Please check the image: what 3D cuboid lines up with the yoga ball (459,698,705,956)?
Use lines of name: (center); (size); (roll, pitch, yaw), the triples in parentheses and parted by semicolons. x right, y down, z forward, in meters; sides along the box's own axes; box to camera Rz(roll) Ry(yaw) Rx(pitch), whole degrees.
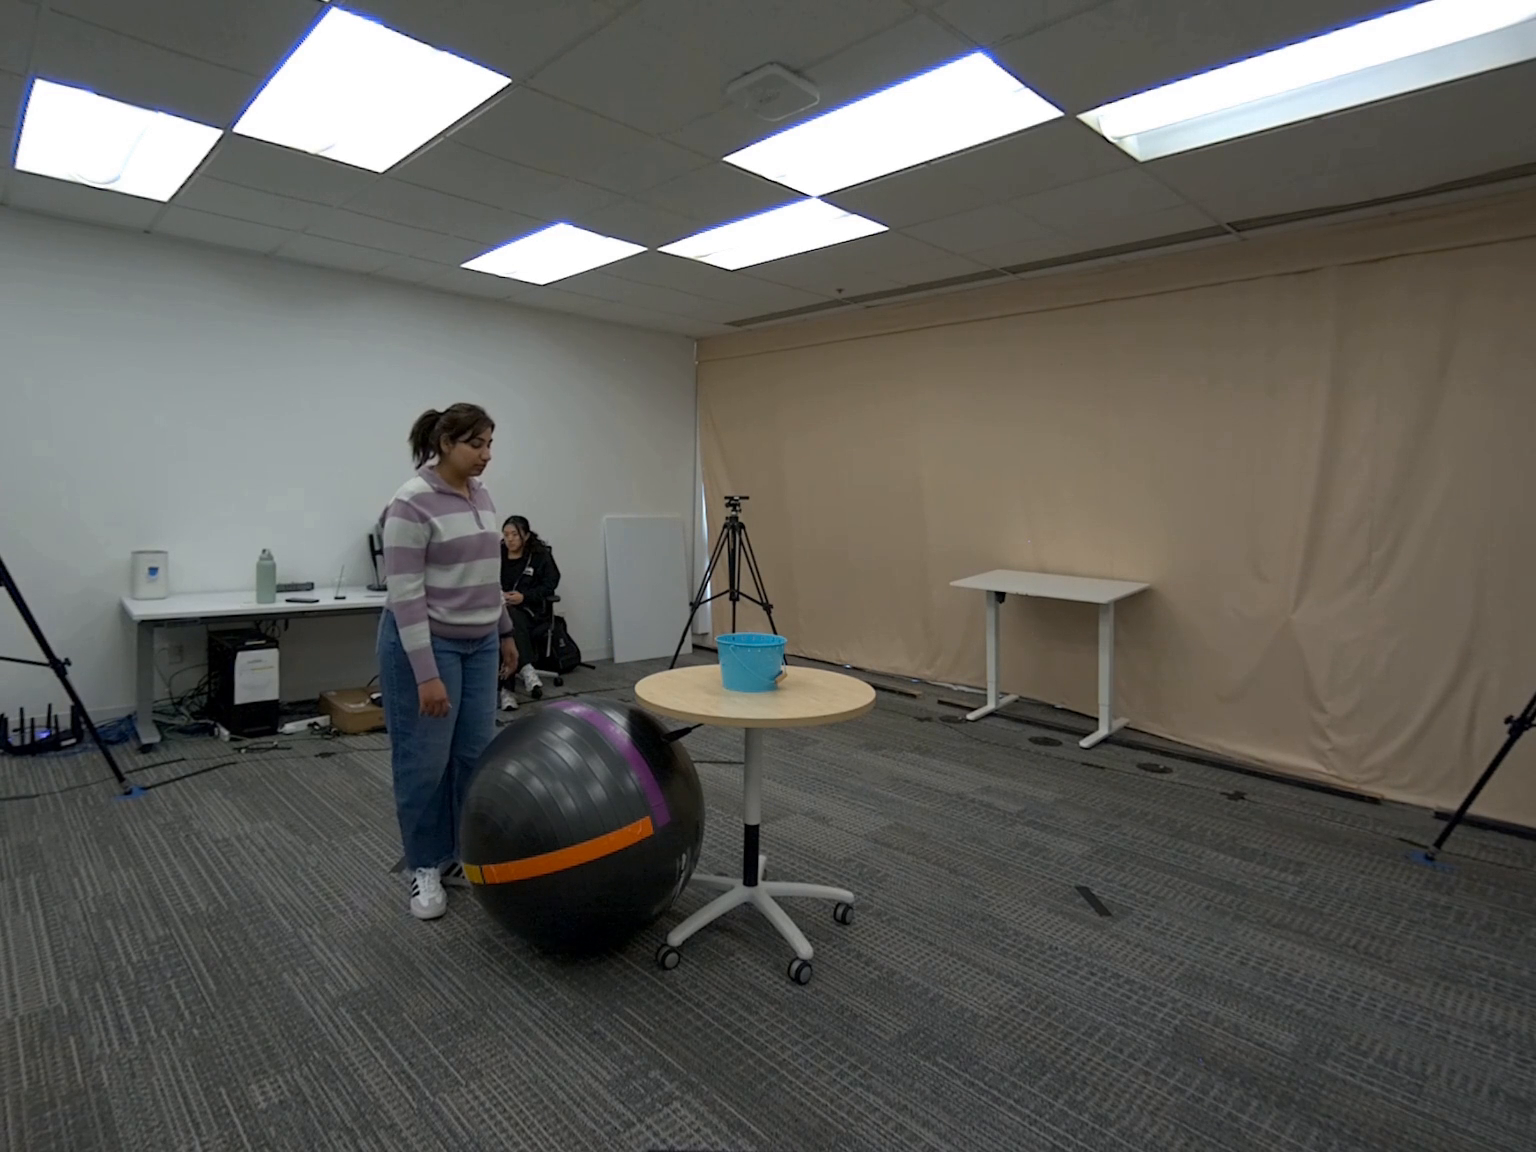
yoga ball: (-0.583, 0.765, 2.637); (0.757, 0.756, 0.761); (1, 4, -1)
